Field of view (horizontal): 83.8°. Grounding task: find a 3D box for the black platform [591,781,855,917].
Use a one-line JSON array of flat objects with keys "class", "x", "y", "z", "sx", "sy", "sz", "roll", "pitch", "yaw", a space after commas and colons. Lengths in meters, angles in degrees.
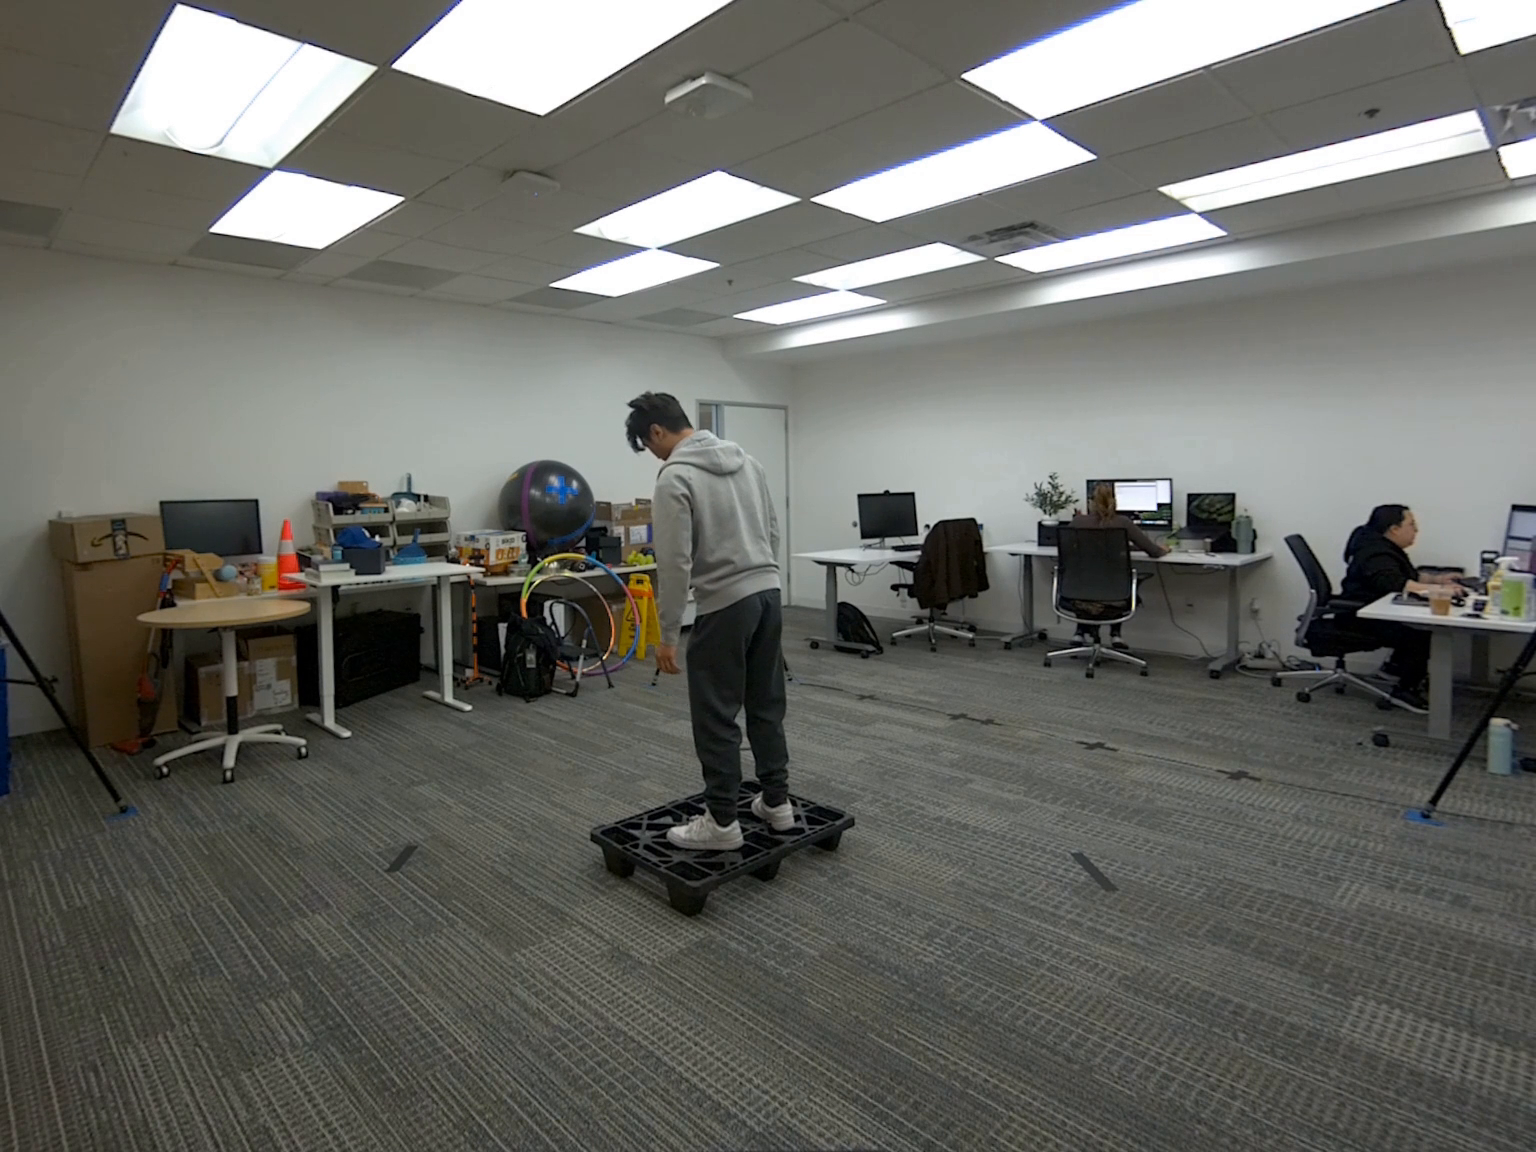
[{"class": "black platform", "x": -0.152, "y": 0.973, "z": 3.145, "sx": 0.785, "sy": 0.142, "sz": 0.624, "roll": -8, "pitch": 10, "yaw": -43}]
